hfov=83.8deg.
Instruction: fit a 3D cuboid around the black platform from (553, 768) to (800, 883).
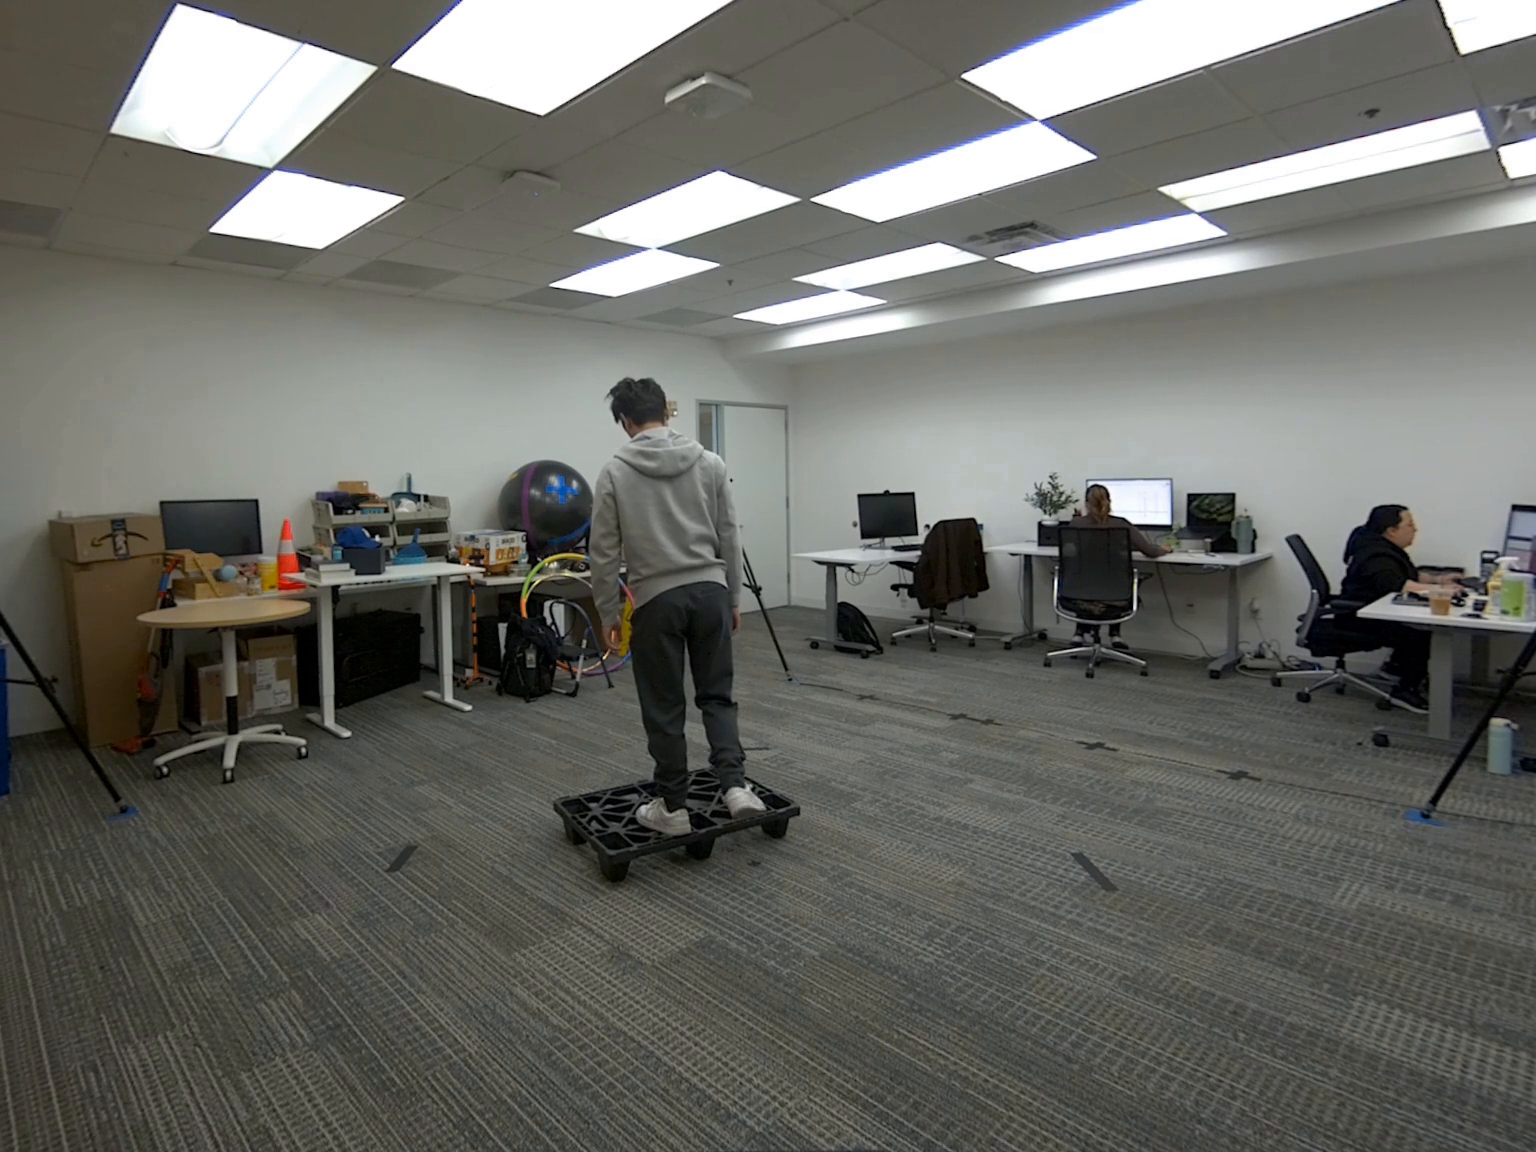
[{"bbox_3d":[-0.356,0.955,3.349,0.787,0.142,0.623,-5,8,-31],"label":"black platform"}]
